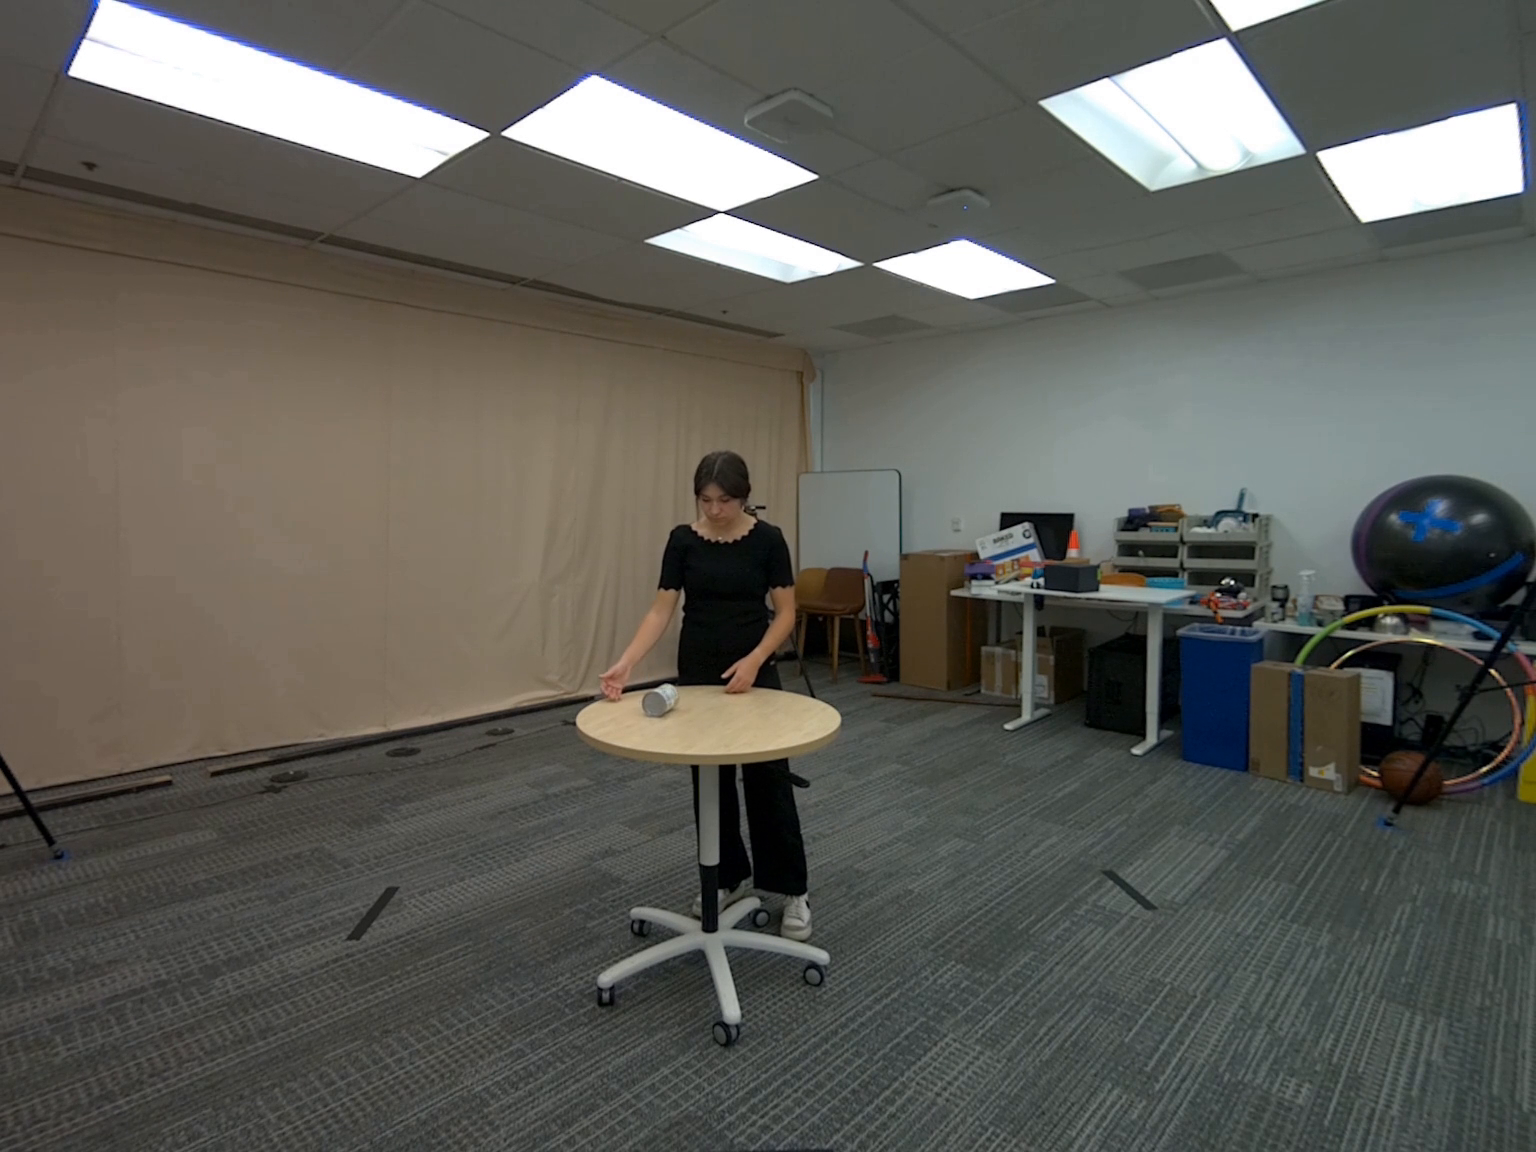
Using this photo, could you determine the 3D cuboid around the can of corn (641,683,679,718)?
[{"bbox_3d":[-0.313,0.361,2.479,0.075,0.074,0.109,1,5,14],"label":"can of corn"}]
